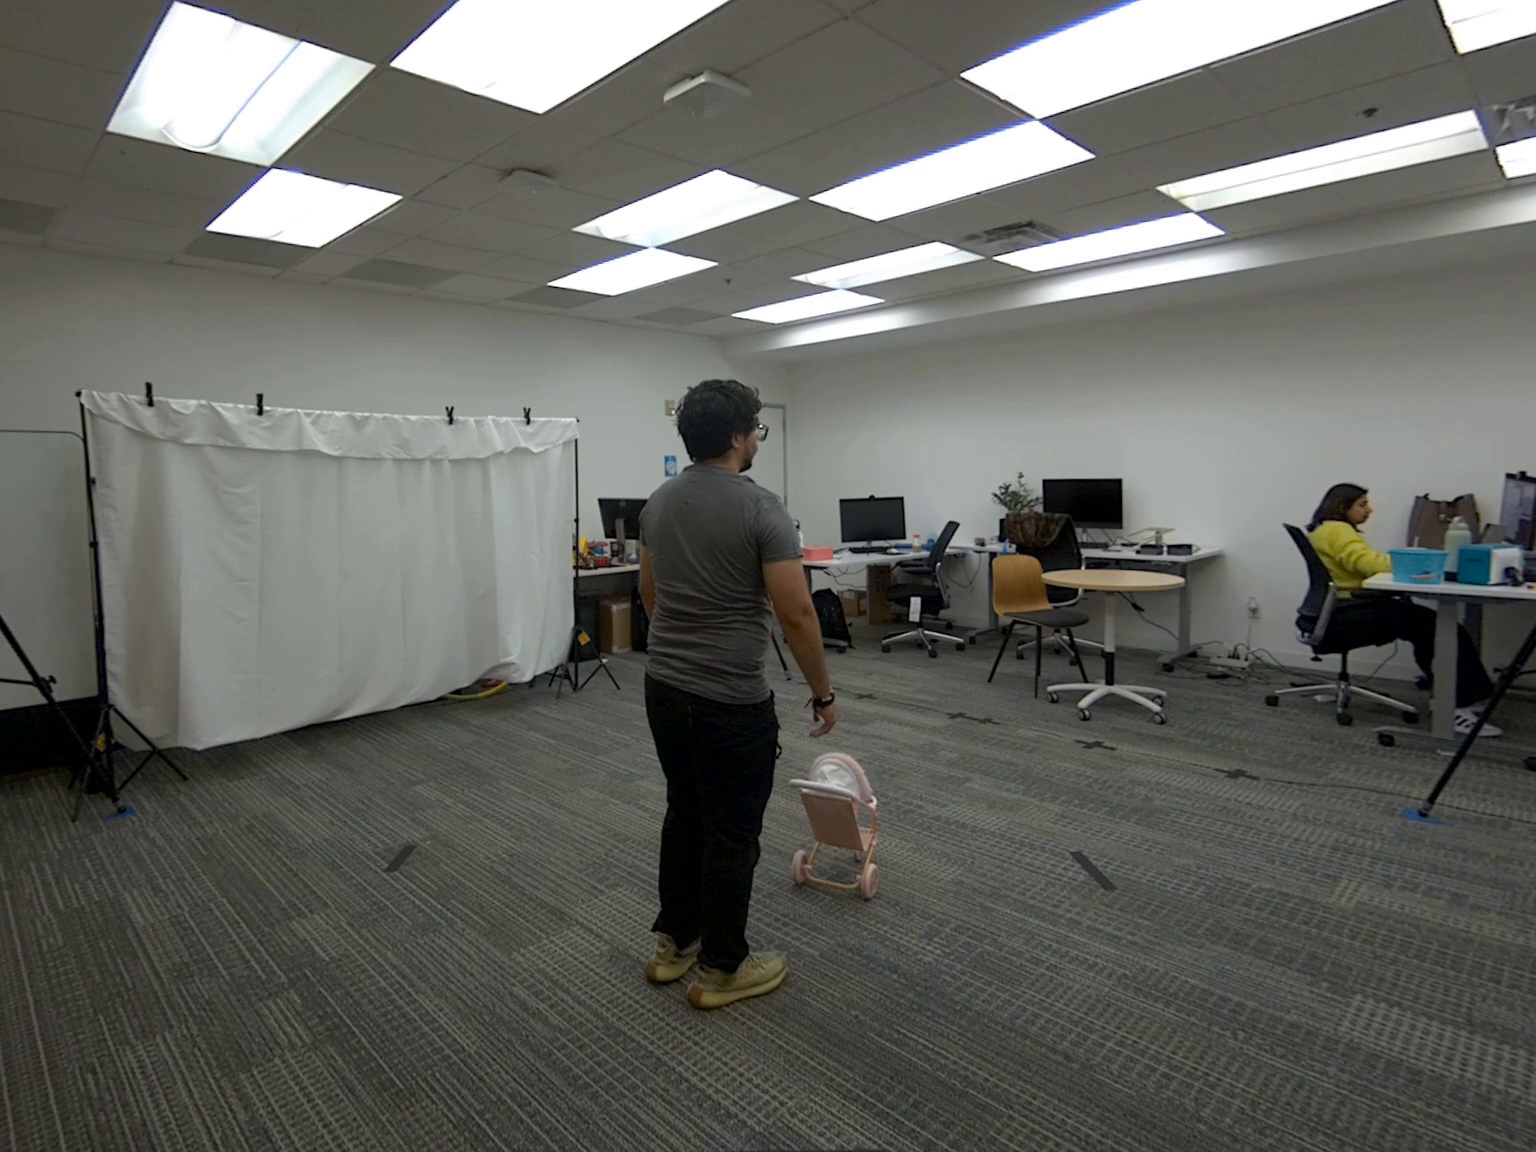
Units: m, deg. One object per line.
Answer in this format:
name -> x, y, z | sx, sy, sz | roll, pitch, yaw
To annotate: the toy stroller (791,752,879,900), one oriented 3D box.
toy stroller -> 0.256, 0.838, 2.930 | 0.289, 0.525, 0.339 | 2, 23, 30
